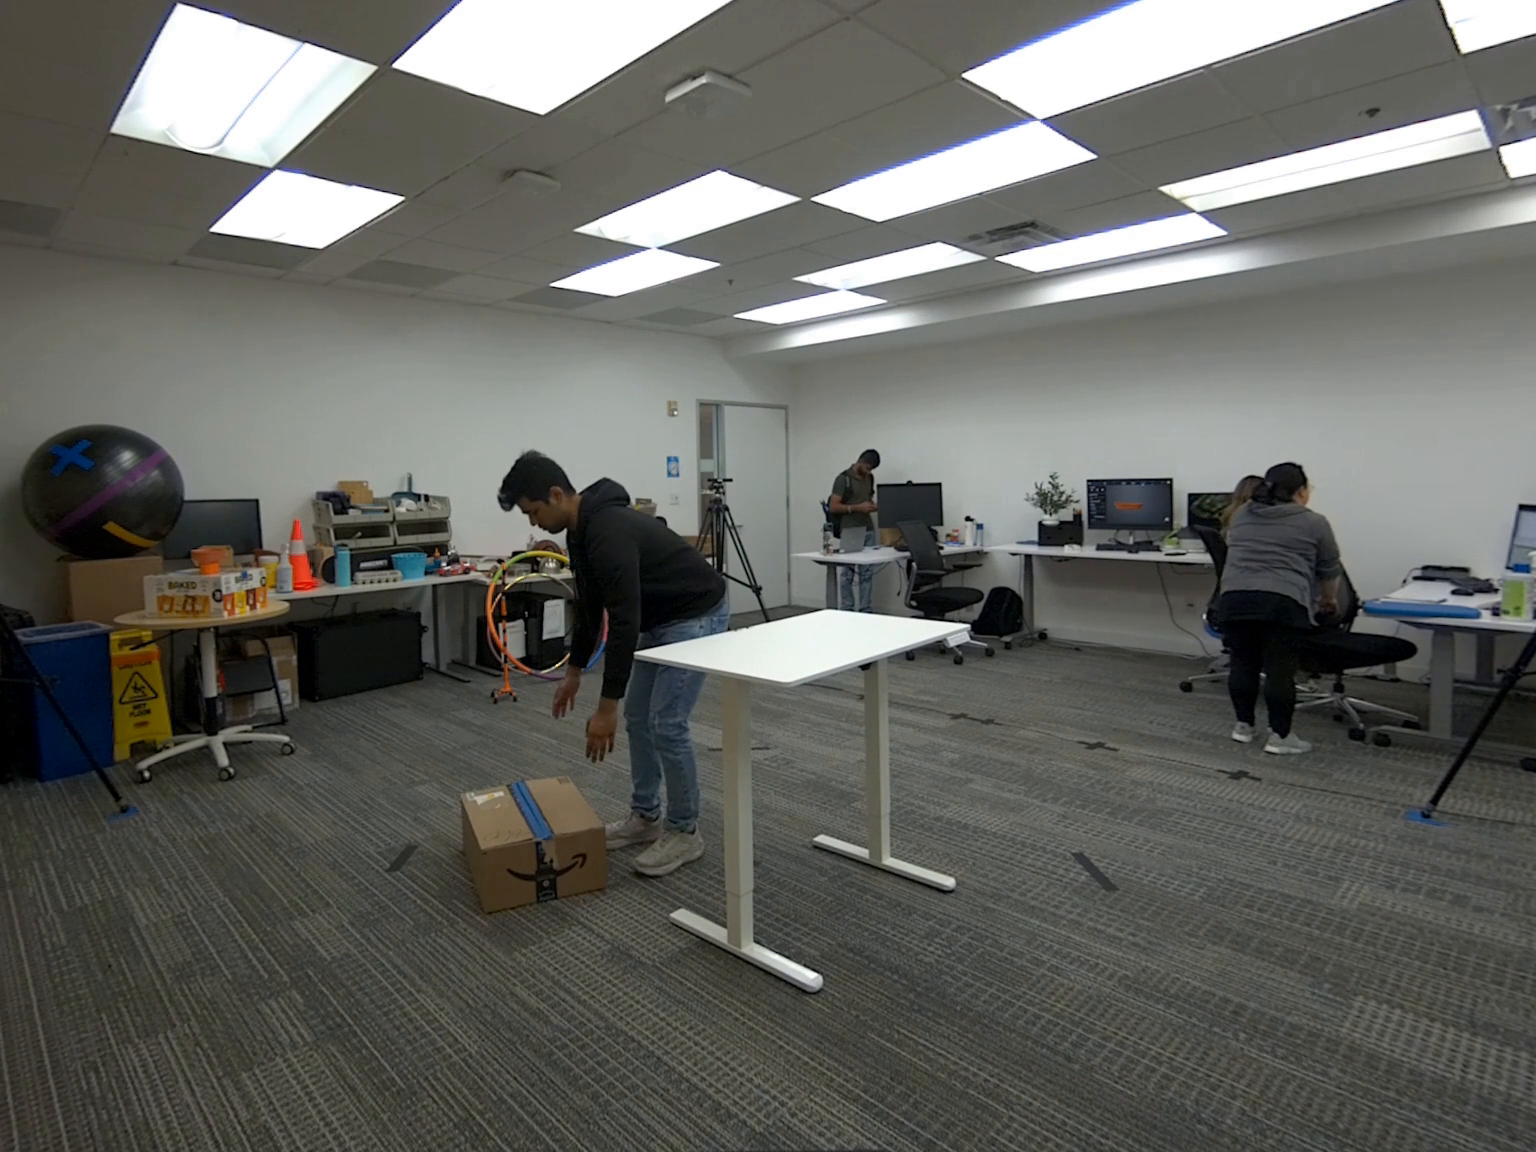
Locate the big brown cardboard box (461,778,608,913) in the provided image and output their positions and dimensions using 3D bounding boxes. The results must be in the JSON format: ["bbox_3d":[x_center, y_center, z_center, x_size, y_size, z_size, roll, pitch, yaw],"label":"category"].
[{"bbox_3d":[-0.862,0.950,3.105,0.409,0.232,0.604,-5,8,-25],"label":"big brown cardboard box"}]
